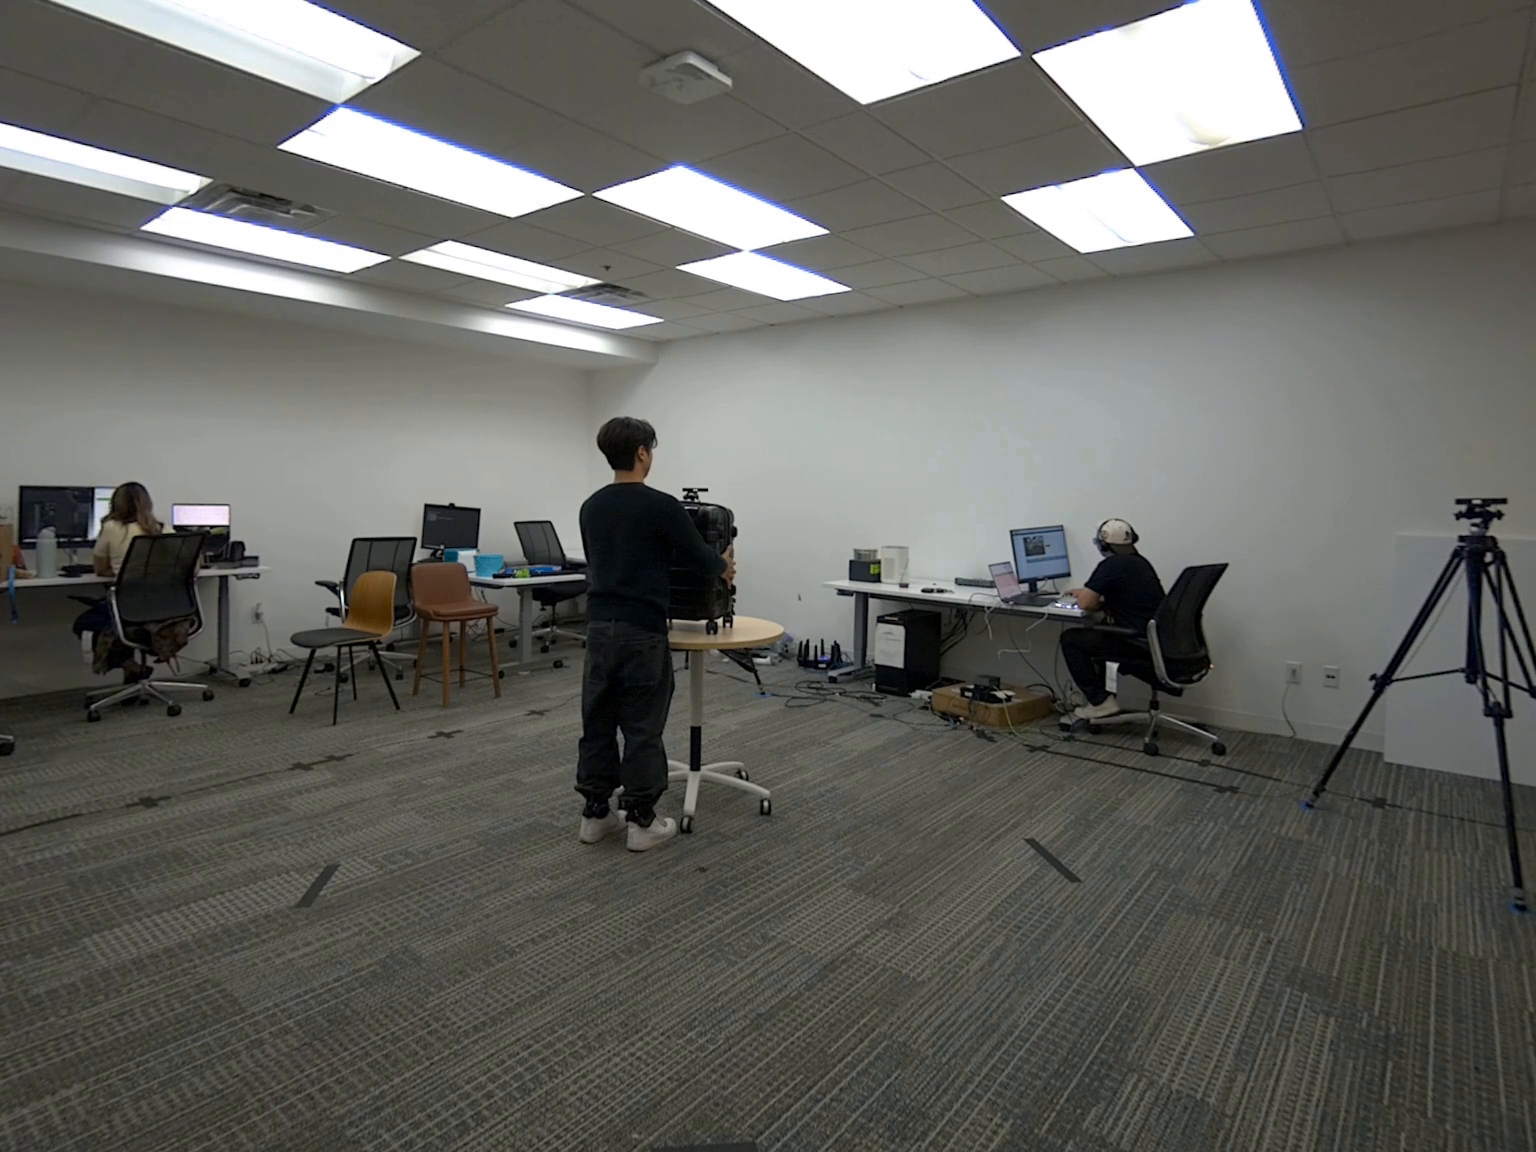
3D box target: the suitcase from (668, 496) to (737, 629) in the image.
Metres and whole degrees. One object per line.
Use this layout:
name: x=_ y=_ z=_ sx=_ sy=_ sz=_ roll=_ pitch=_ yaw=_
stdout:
suitcase: x=-0.351 y=-0.056 z=3.736 sx=0.384 sy=0.548 sz=0.243 roll=1 pitch=2 yaw=22
